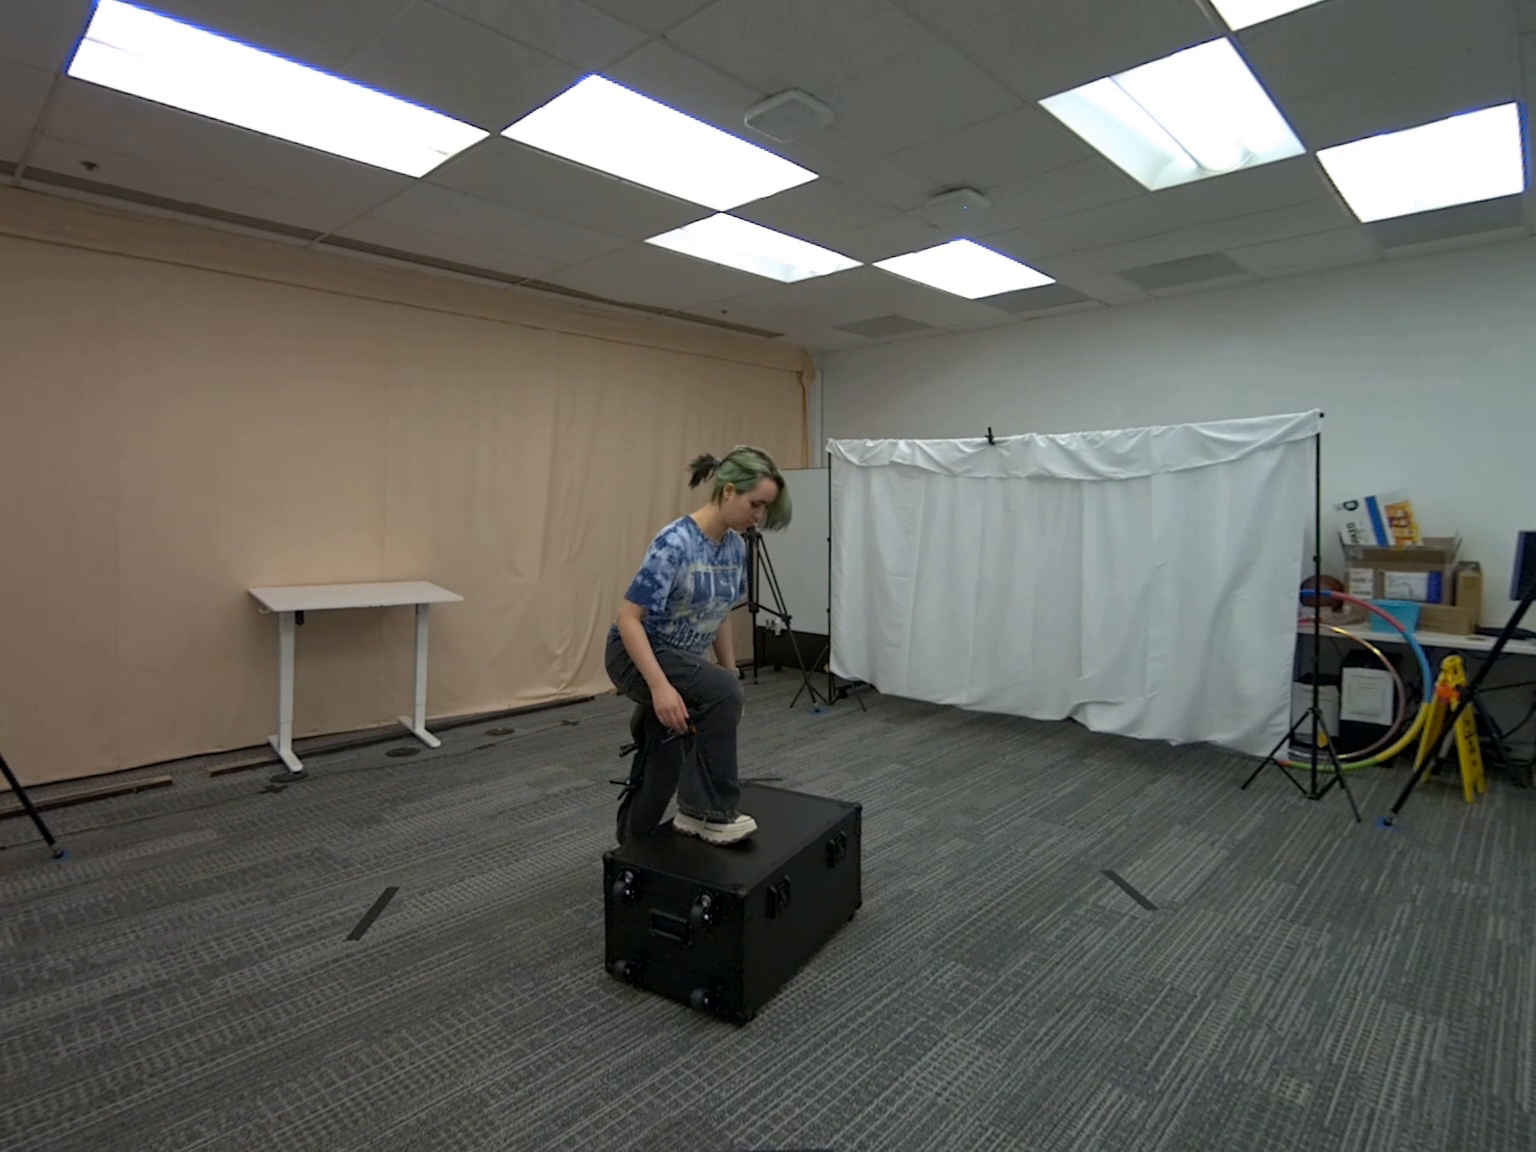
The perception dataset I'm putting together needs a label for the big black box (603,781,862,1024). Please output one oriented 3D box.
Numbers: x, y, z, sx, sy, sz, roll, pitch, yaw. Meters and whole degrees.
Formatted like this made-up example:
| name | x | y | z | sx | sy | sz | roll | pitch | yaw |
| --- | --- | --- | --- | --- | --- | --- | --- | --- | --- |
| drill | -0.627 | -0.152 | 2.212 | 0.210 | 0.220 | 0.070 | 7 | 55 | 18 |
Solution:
| name | x | y | z | sx | sy | sz | roll | pitch | yaw |
| --- | --- | --- | --- | --- | --- | --- | --- | --- | --- |
| big black box | -0.094 | 0.984 | 2.638 | 0.537 | 0.395 | 0.838 | 2 | 5 | 31 |
